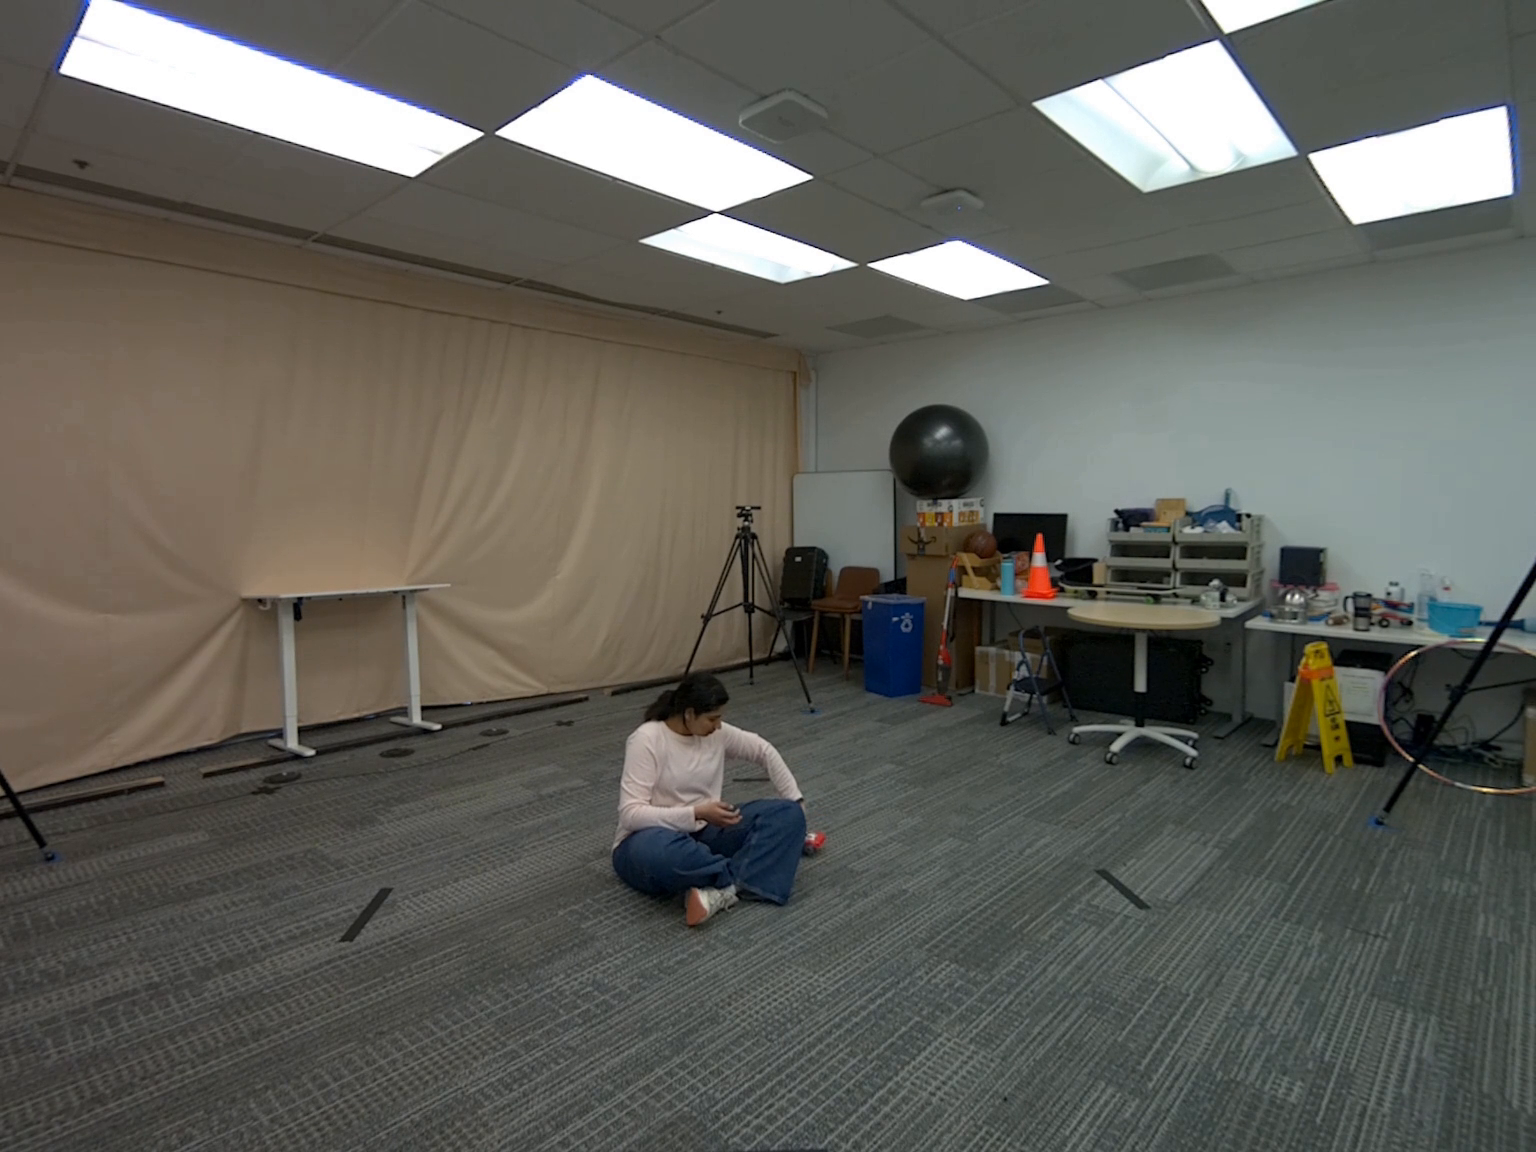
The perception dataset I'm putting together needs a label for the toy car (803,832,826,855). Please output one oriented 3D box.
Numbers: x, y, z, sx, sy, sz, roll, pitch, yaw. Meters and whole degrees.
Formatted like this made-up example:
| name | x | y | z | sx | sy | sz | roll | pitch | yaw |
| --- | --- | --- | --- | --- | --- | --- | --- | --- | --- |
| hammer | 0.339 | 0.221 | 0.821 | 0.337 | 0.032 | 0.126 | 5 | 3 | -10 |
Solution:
| name | x | y | z | sx | sy | sz | roll | pitch | yaw |
| --- | --- | --- | --- | --- | --- | --- | --- | --- | --- |
| toy car | 0.106 | 1.072 | 3.419 | 0.262 | 0.083 | 0.127 | 8 | 10 | 28 |
